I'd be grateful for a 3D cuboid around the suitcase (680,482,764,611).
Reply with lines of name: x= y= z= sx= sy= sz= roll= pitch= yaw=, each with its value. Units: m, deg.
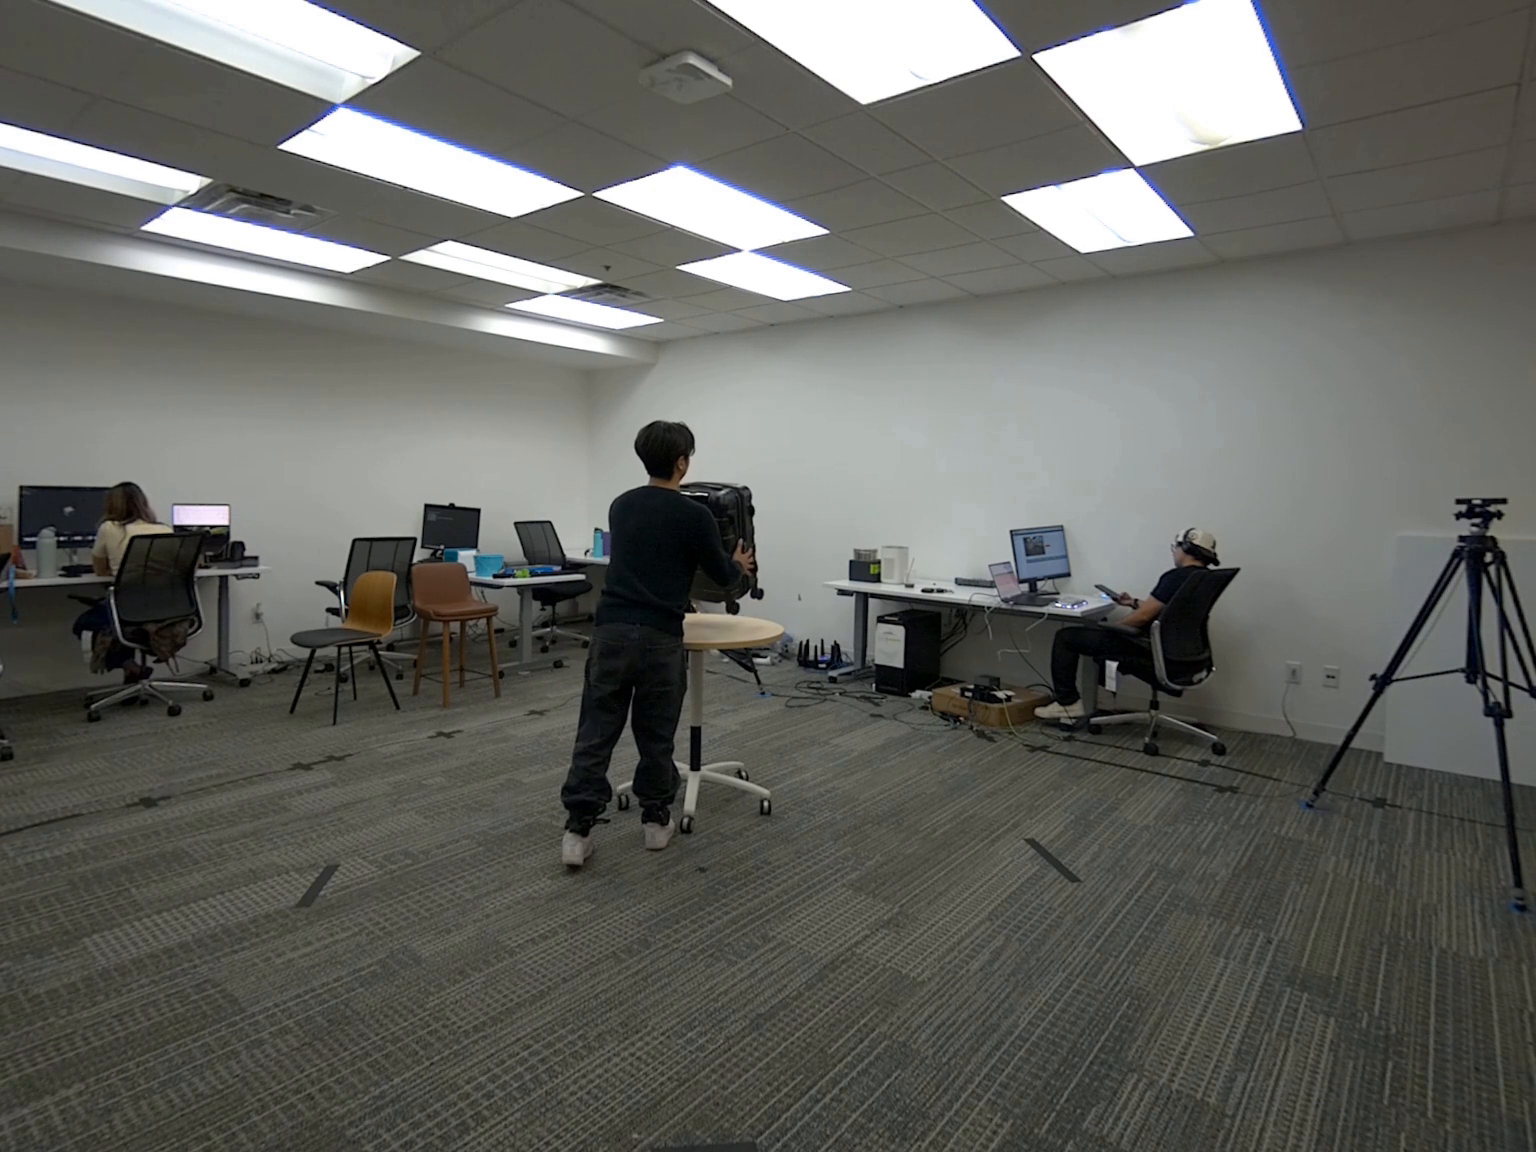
suitcase: x=-0.266 y=-0.148 z=3.755 sx=0.387 sy=0.541 sz=0.244 roll=5 pitch=17 yaw=34
